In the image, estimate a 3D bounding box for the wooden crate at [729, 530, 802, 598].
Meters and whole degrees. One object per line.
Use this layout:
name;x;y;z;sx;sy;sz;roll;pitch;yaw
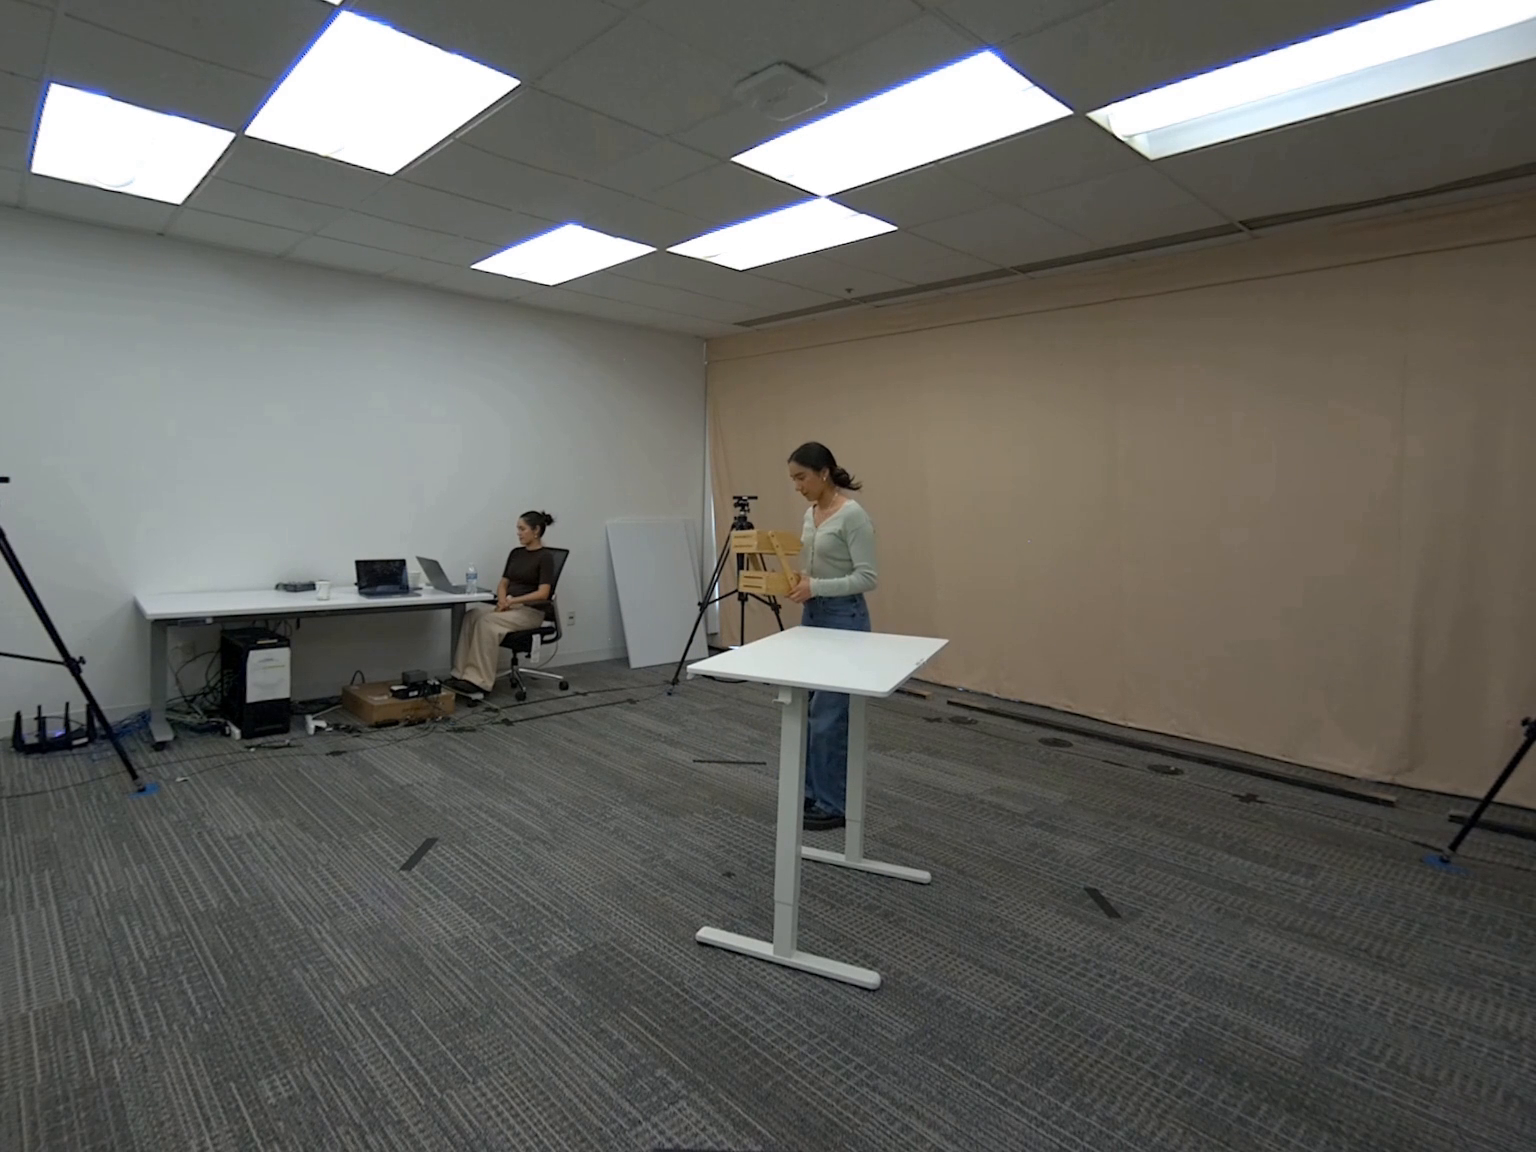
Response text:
wooden crate;0.030;-0.058;3.553;0.296;0.273;0.330;2;0;-25
